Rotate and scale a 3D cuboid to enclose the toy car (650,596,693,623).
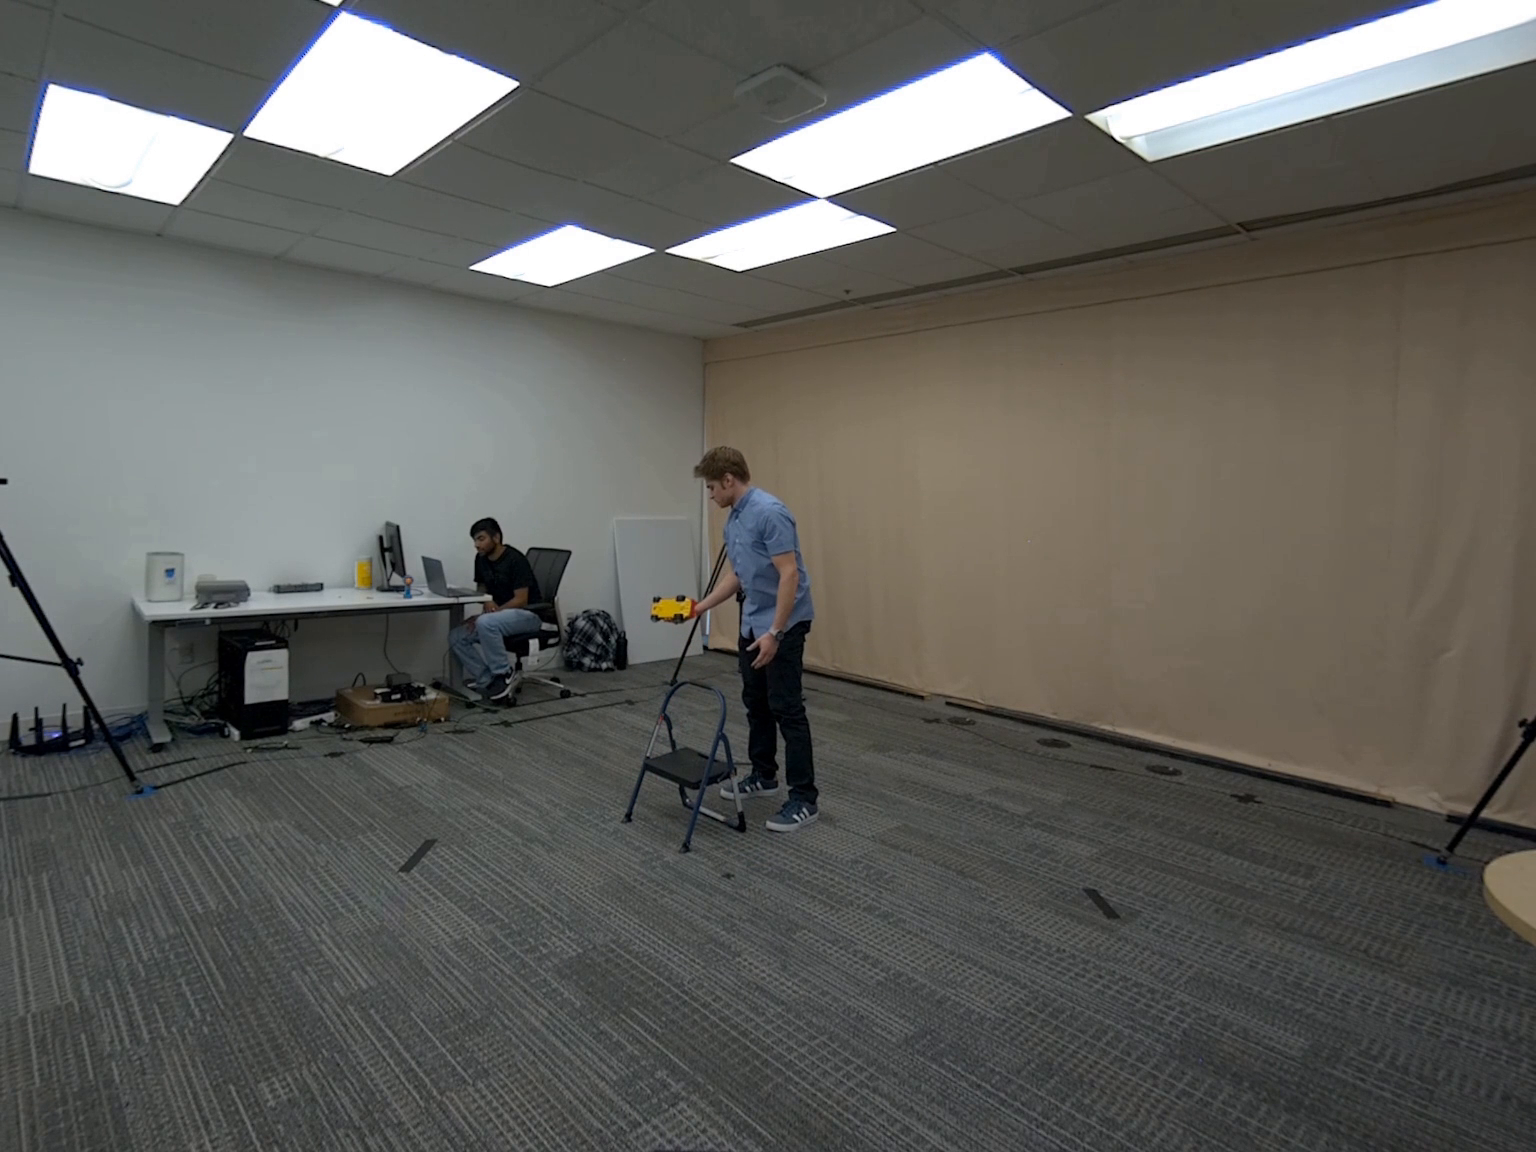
[{"bbox_3d":[-0.457,0.154,3.985,0.259,0.131,0.081,-1,-17,24],"label":"toy car"}]
